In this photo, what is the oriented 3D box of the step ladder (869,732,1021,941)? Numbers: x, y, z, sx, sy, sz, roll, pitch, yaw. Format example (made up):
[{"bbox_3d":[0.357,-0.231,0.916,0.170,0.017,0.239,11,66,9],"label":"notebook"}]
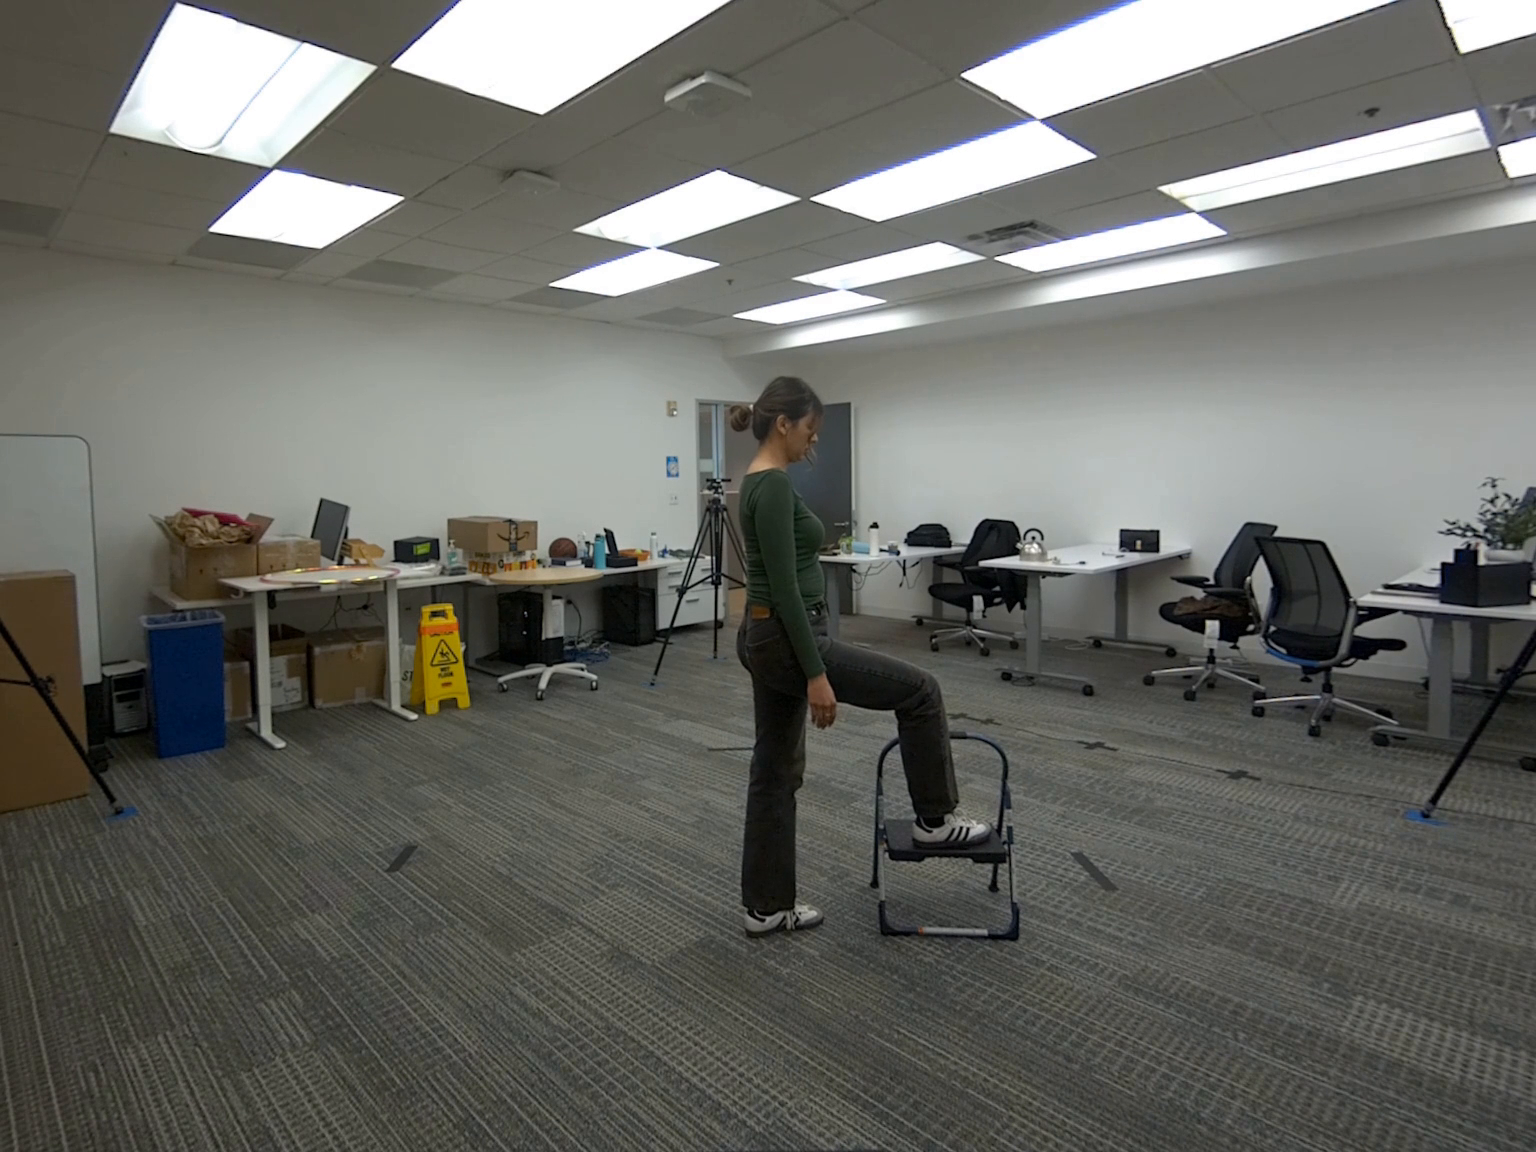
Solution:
[{"bbox_3d":[0.556,0.780,2.732,0.433,0.604,0.349,0,3,4],"label":"step ladder"}]
